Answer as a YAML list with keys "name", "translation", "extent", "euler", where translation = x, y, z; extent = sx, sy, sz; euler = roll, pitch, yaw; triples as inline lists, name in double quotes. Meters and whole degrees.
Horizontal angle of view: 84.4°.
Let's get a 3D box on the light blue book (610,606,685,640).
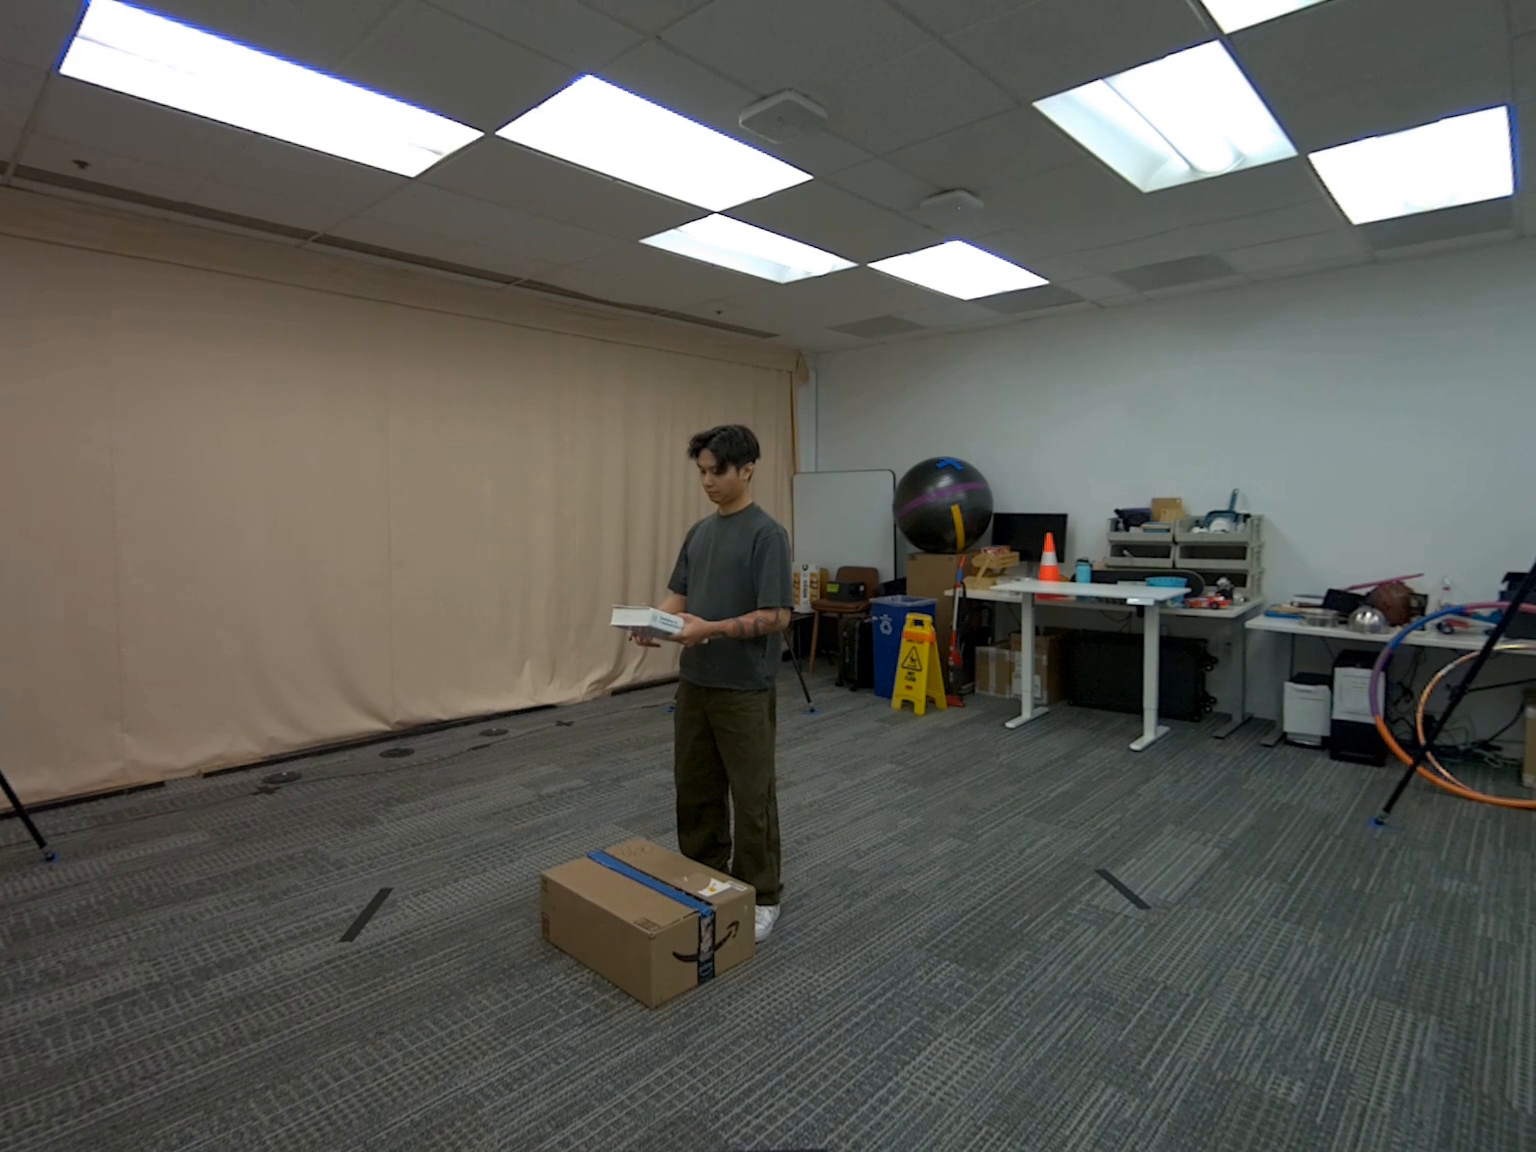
- name: "light blue book"
  translation: [-0.350, 0.158, 2.666]
  extent: [0.197, 0.059, 0.251]
  euler: [-3, -17, 44]
